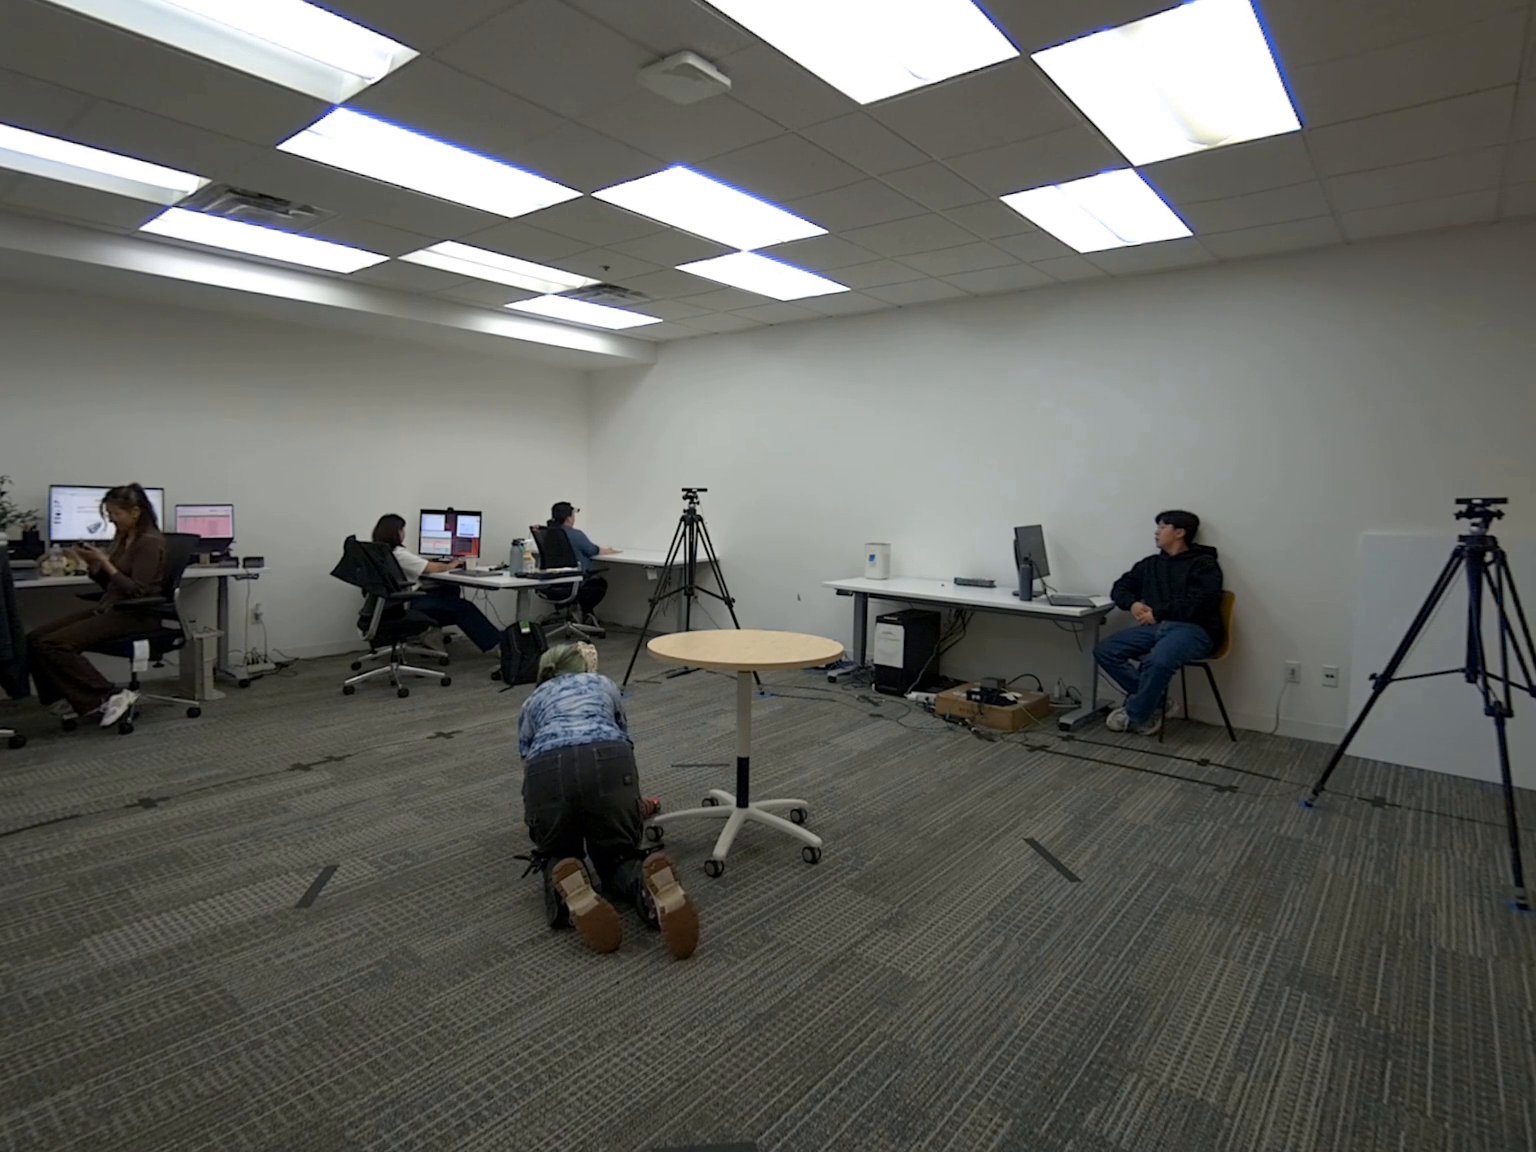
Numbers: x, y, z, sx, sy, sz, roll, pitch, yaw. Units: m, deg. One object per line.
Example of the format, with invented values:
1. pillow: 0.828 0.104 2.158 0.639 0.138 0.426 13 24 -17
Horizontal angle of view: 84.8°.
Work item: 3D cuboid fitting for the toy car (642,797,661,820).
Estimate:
1. toy car: -0.575 0.986 3.596 0.134 0.083 0.246 4 -5 27
